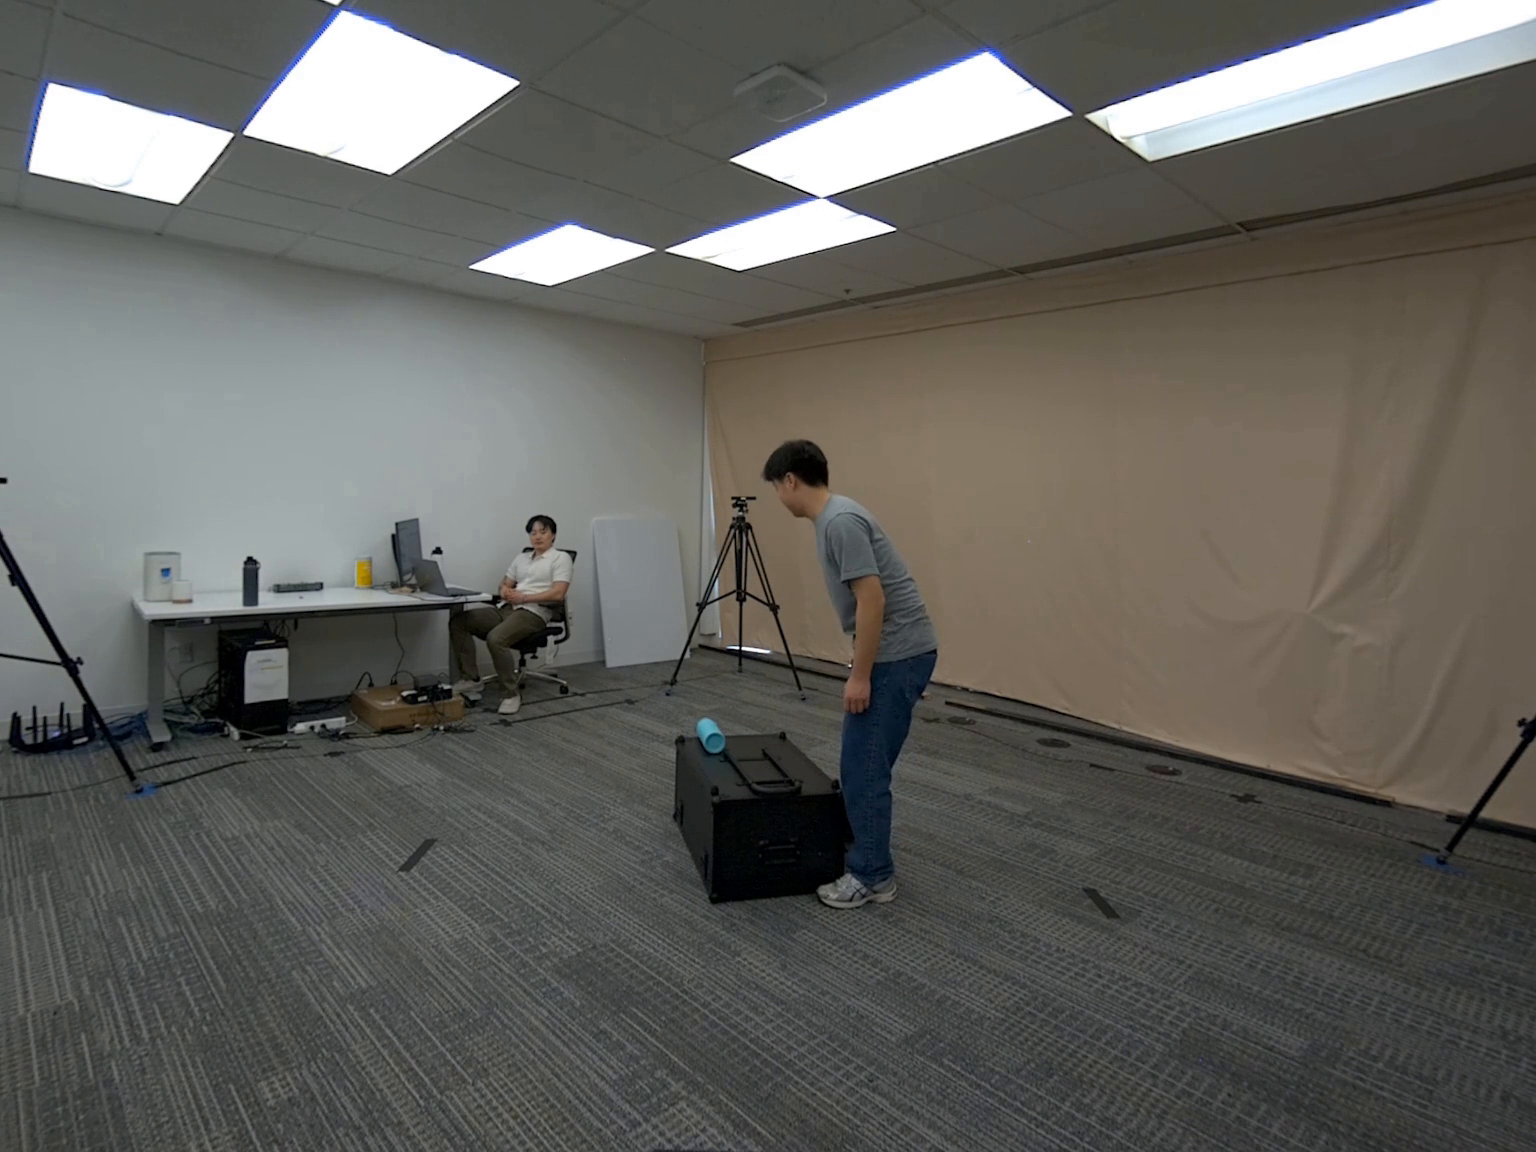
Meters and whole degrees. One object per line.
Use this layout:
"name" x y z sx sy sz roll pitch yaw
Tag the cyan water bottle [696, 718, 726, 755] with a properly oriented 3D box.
"cyan water bottle" -0.248 0.660 3.530 0.091 0.092 0.287 0 4 -12
